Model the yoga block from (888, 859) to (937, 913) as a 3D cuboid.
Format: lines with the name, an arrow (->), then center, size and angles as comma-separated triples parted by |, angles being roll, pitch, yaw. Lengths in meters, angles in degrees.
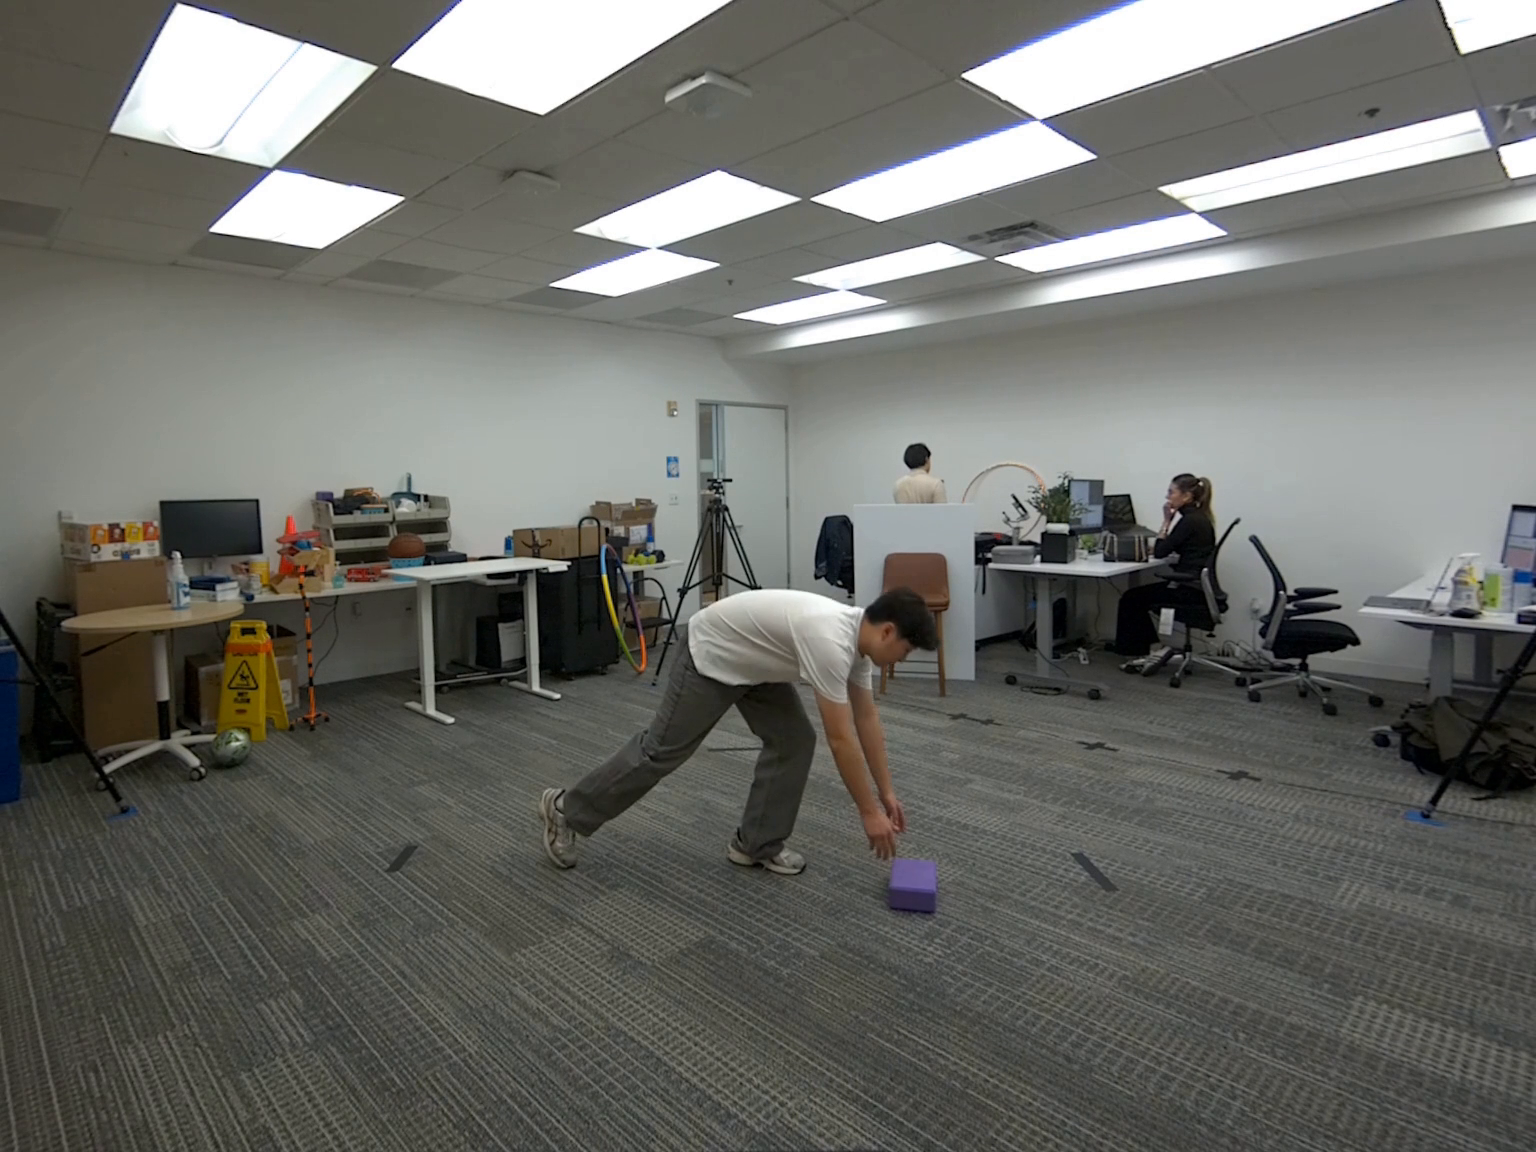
yoga block -> 0.487, 1.024, 2.847 | 0.151, 0.076, 0.227 | -2, 6, 13
